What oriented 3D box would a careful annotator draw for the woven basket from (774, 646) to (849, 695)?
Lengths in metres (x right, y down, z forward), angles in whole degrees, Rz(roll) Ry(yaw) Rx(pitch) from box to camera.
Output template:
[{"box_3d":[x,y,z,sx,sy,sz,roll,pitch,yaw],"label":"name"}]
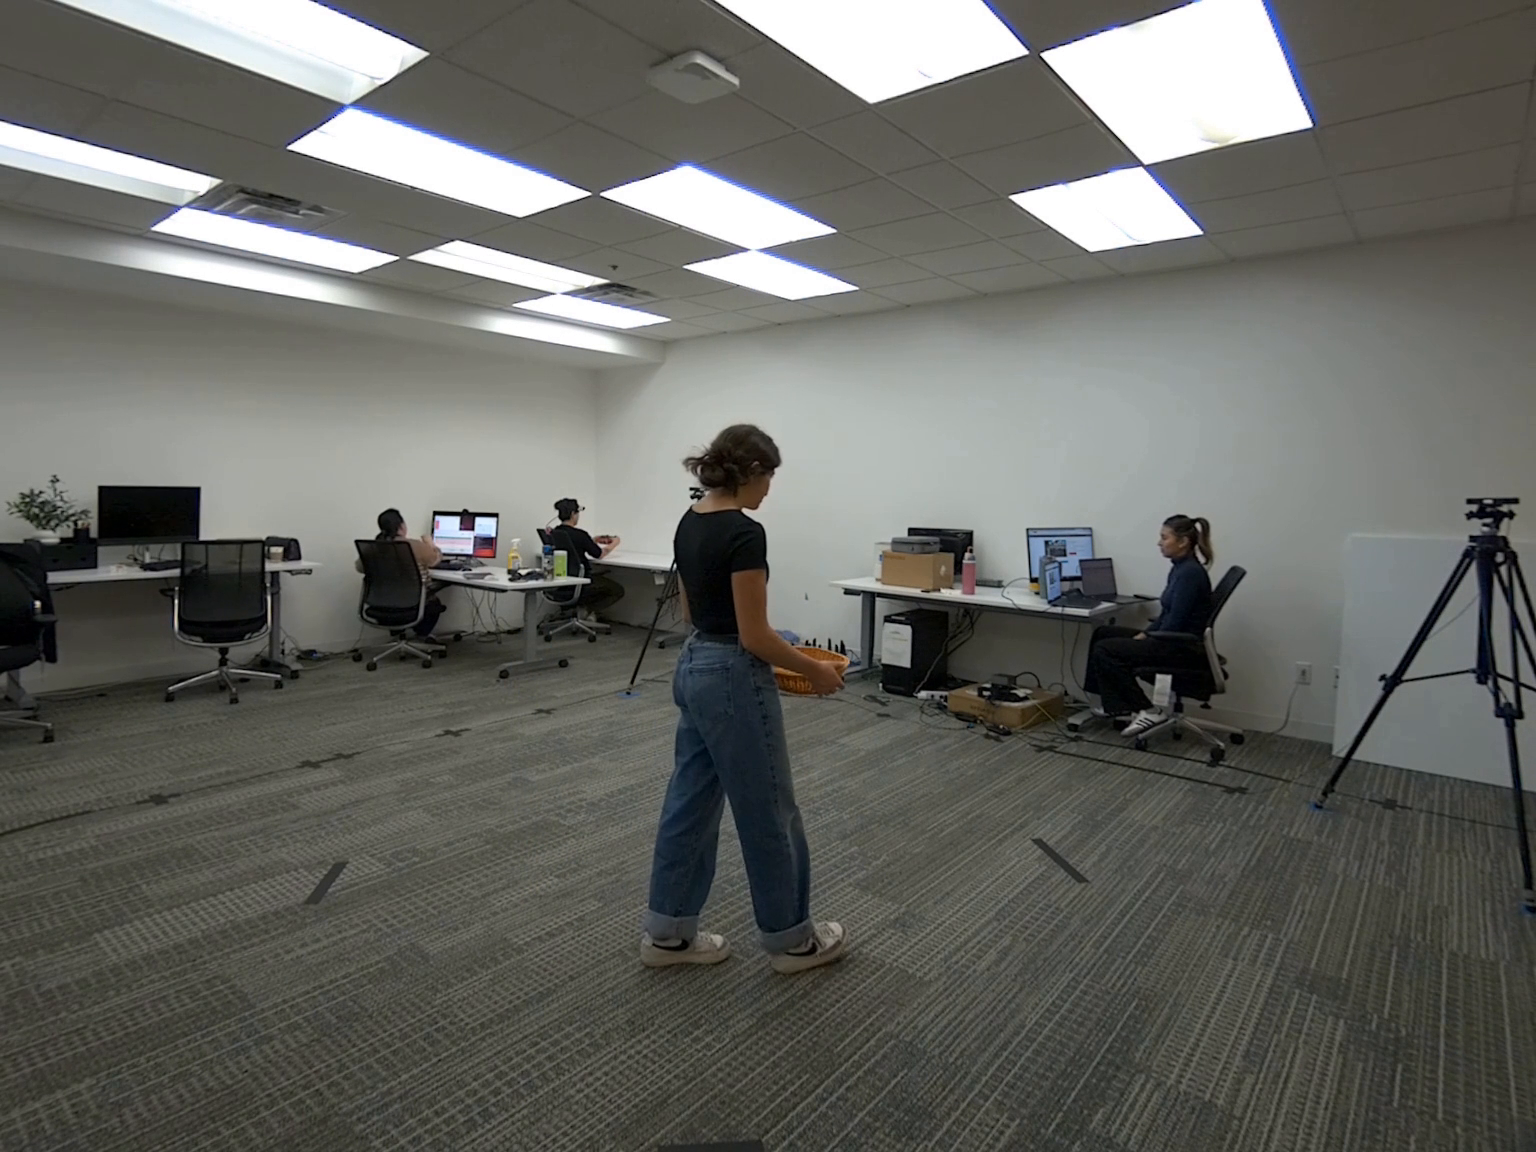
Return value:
[{"box_3d":[0.075,0.289,2.577,0.246,0.073,0.362,-10,12,-33],"label":"woven basket"}]
